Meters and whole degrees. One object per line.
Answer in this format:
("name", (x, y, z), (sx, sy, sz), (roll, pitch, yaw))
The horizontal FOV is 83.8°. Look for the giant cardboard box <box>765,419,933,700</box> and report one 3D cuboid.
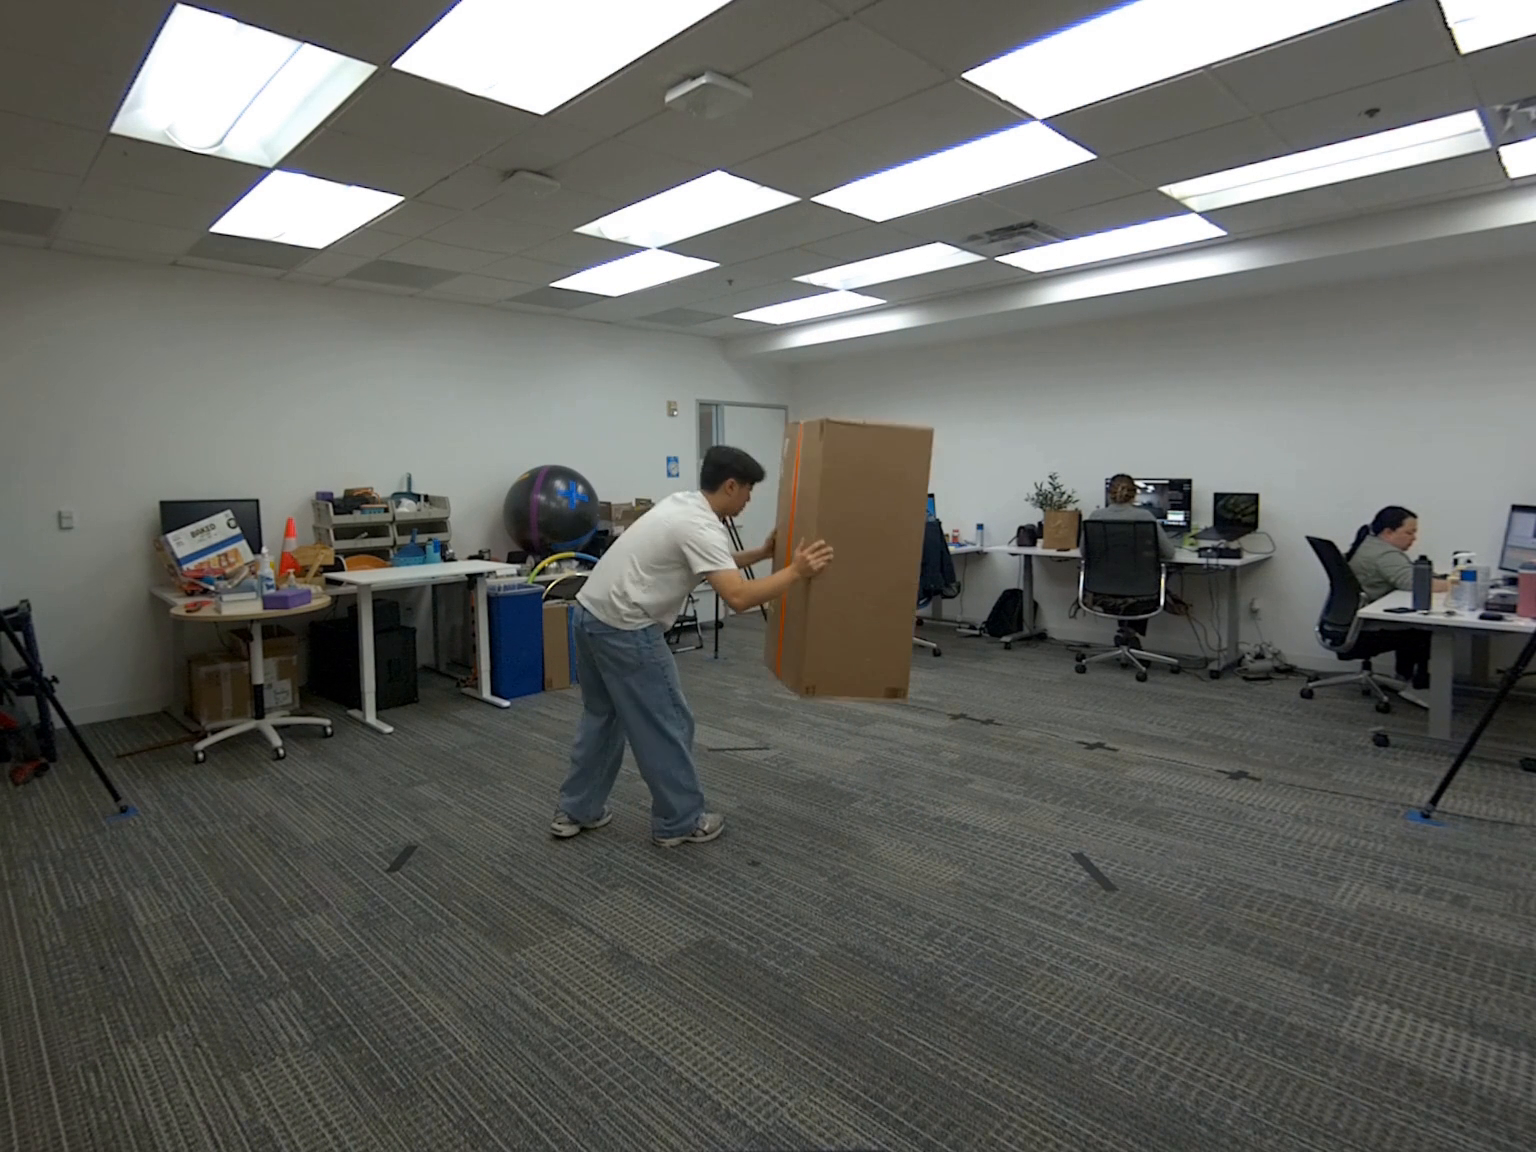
("giant cardboard box", (0.285, -0.087, 3.394), (0.421, 1.022, 0.587), (3, 5, -13))
